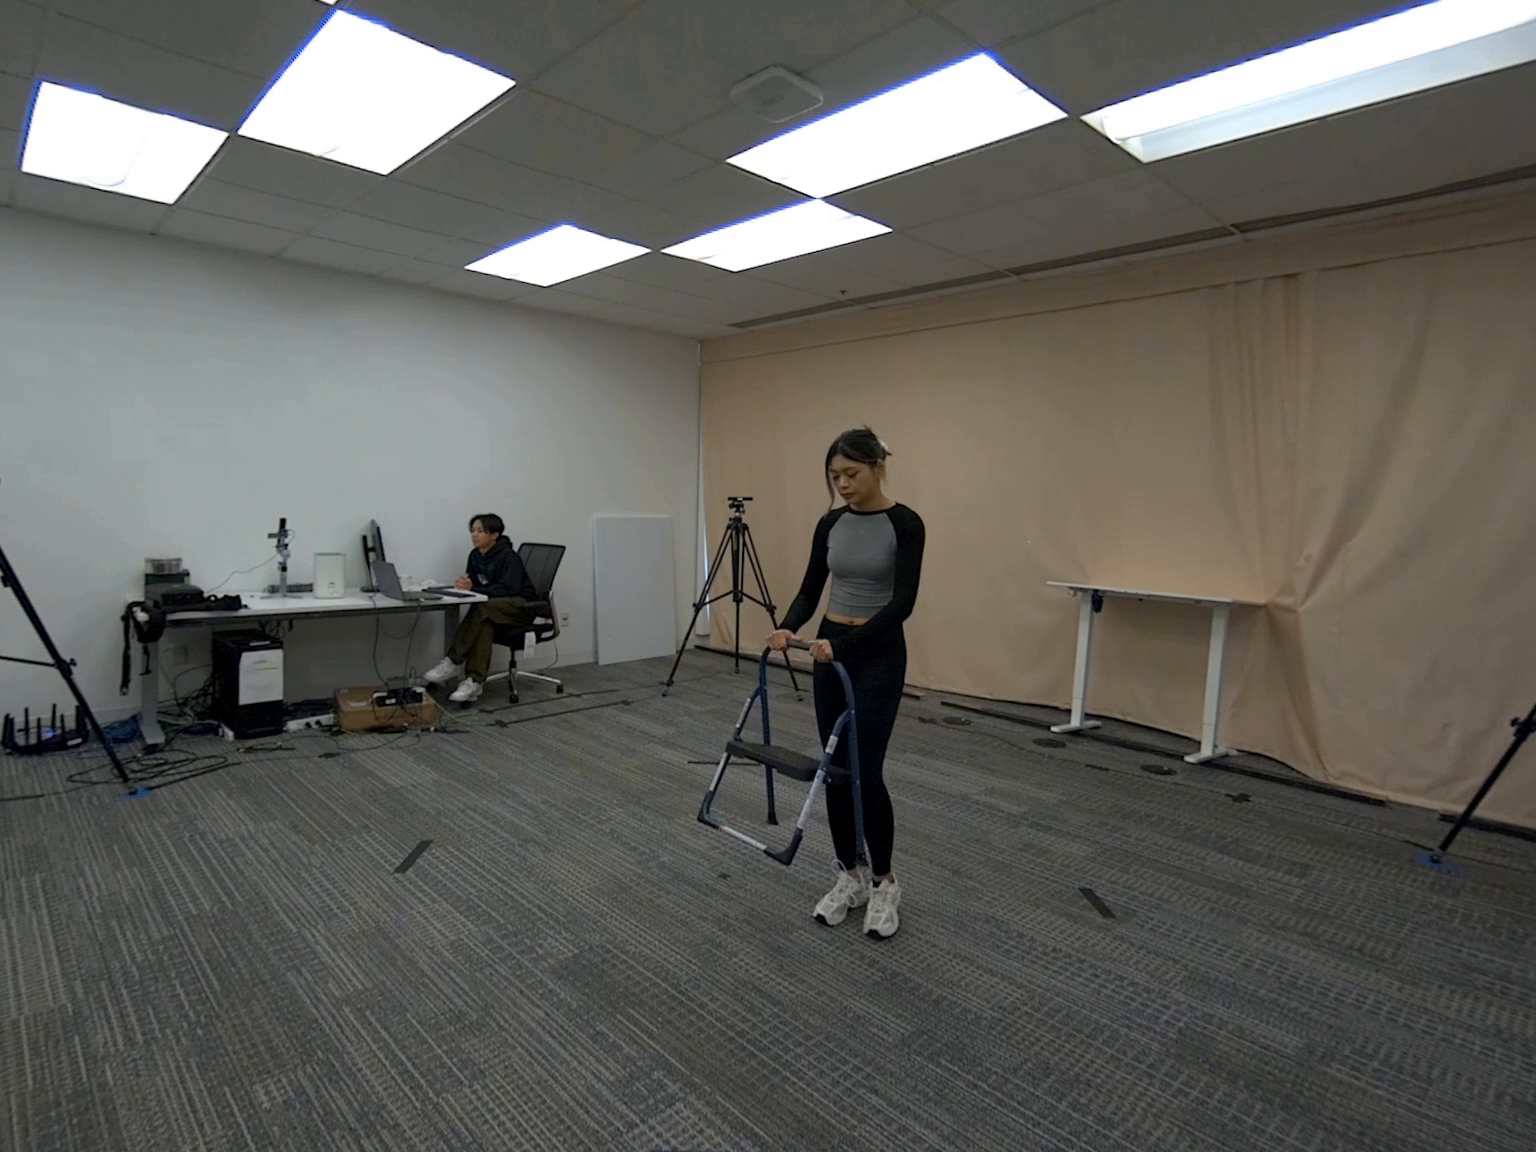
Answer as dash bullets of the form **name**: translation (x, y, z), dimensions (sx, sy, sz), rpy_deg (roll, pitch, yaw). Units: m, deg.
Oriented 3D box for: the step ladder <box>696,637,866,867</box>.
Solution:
- **step ladder**: translation (0.085, 0.517, 2.581), dimensions (0.339, 0.608, 0.441), rpy_deg (15, -7, -41)
